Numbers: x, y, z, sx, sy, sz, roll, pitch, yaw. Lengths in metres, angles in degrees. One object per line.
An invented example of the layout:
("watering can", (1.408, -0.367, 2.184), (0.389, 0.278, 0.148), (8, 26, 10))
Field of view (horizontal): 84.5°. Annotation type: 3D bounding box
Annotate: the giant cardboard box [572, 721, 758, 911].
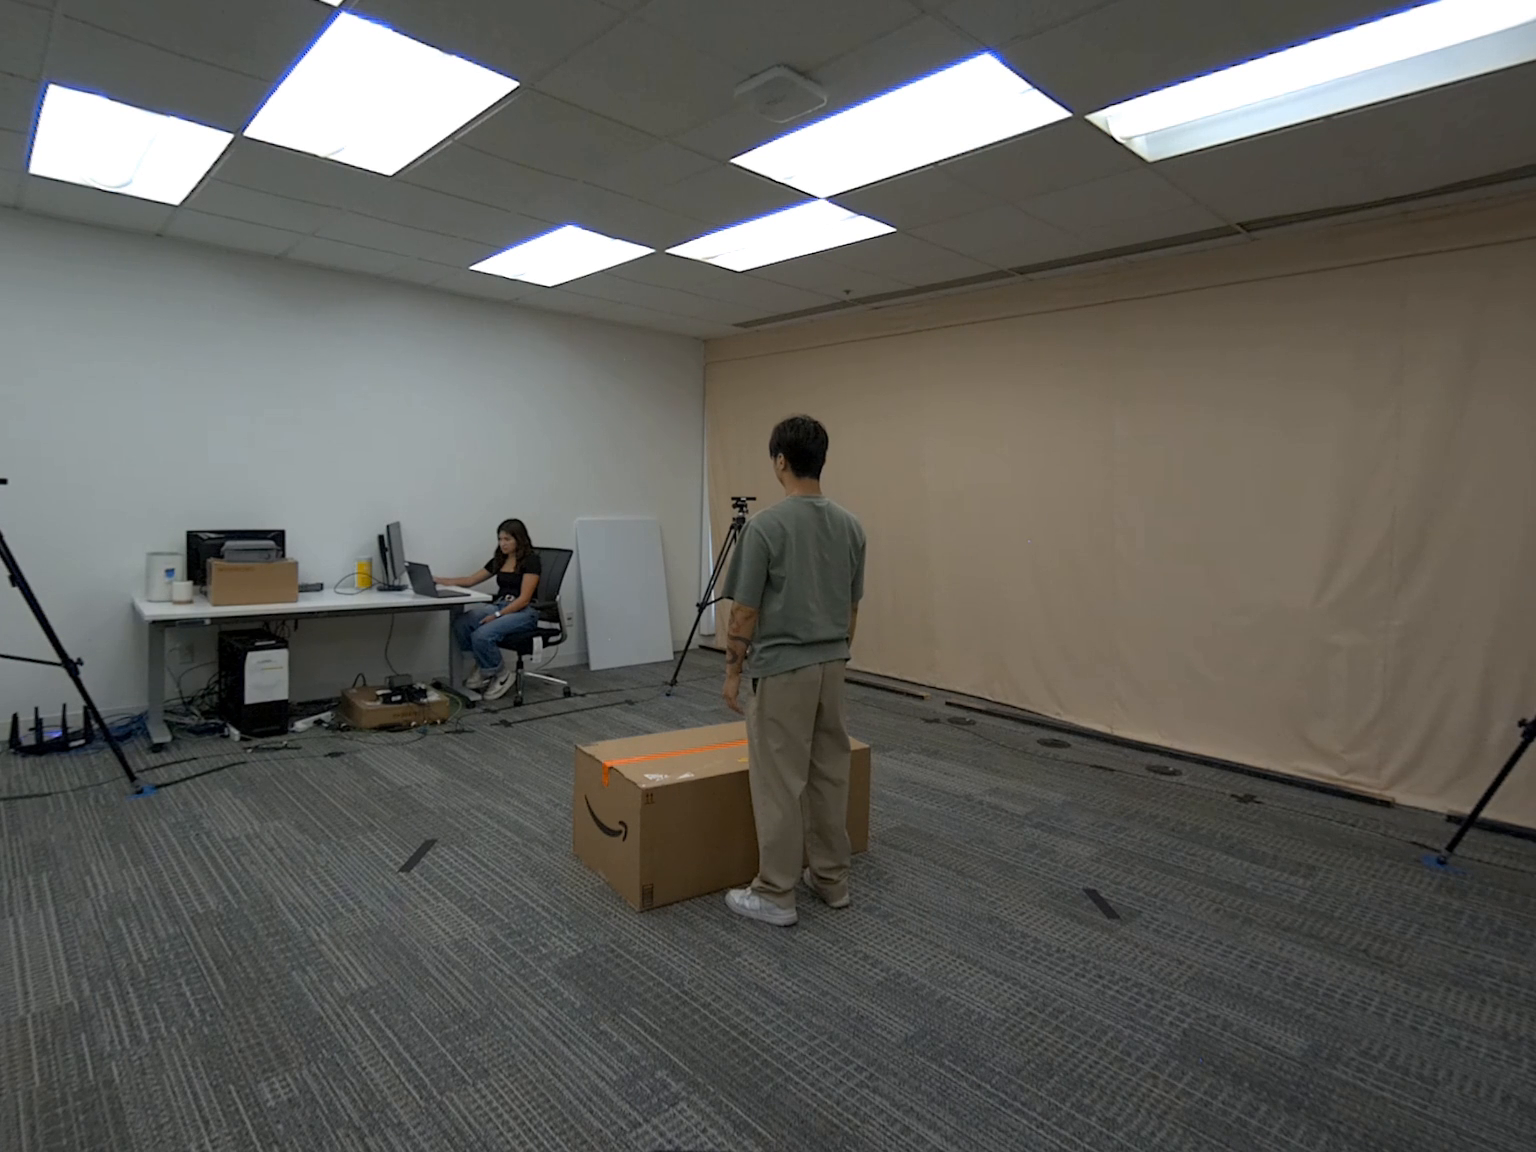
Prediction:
("giant cardboard box", (-0.182, 0.872, 3.315), (1.004, 0.425, 0.592), (-2, 6, -34))
